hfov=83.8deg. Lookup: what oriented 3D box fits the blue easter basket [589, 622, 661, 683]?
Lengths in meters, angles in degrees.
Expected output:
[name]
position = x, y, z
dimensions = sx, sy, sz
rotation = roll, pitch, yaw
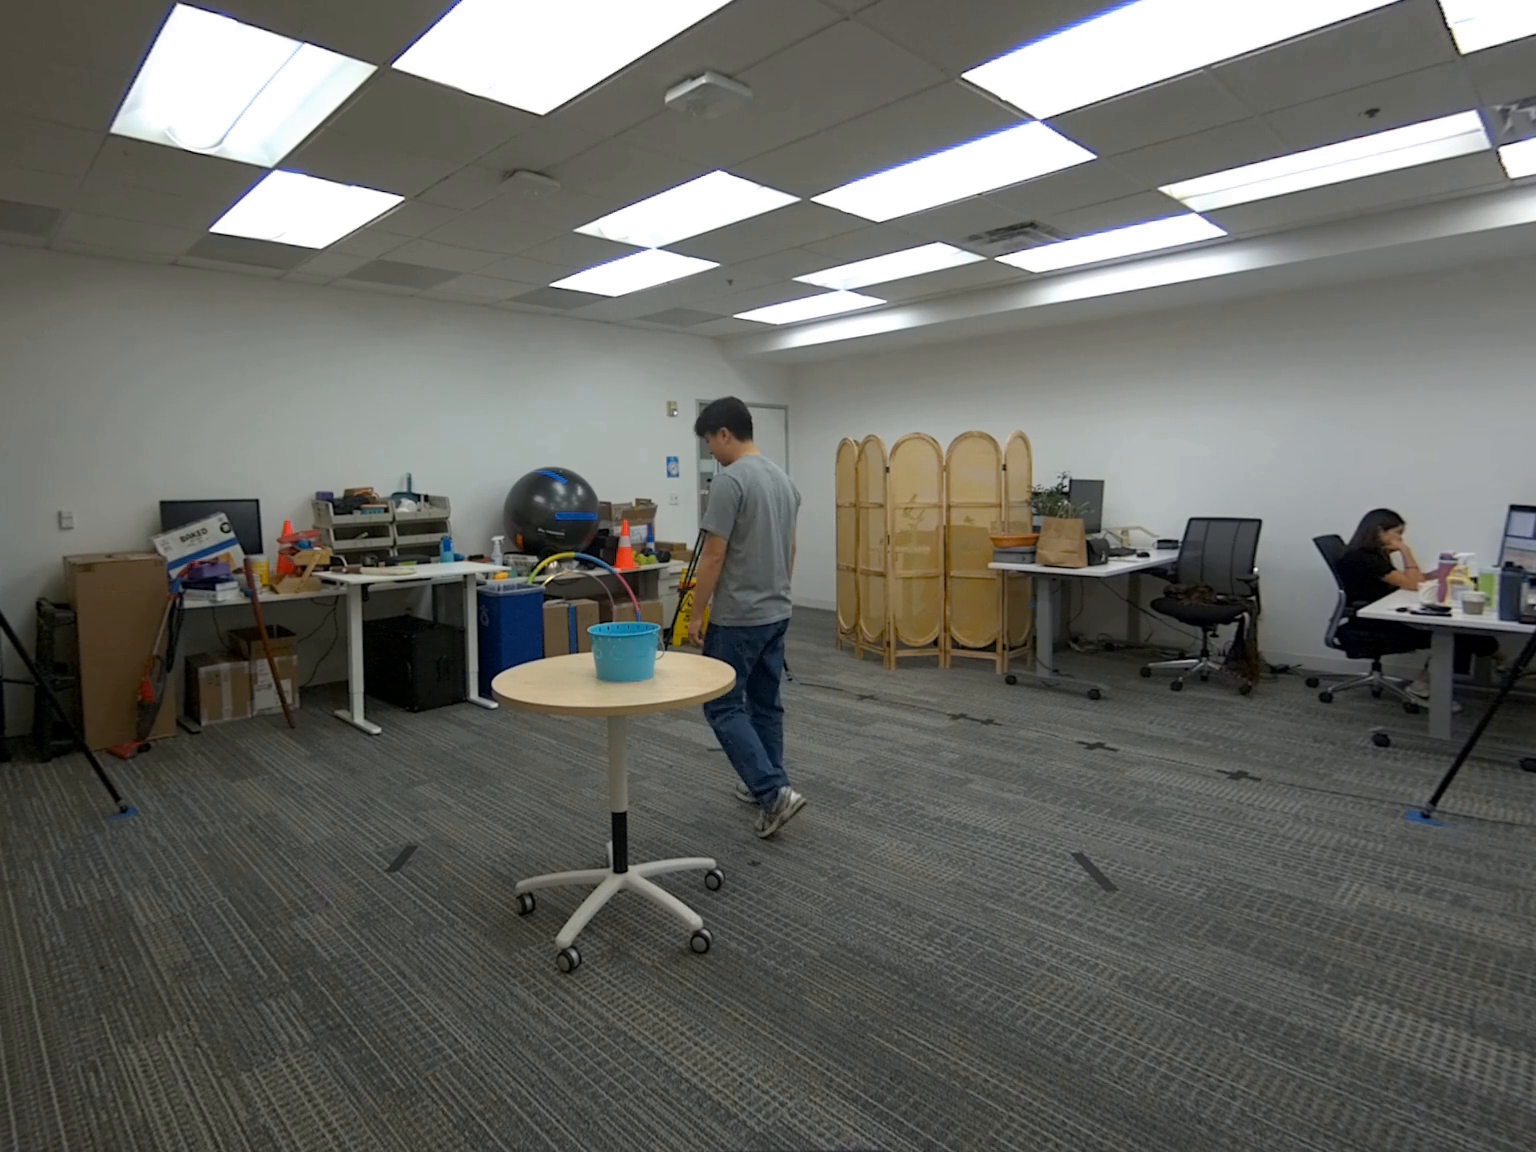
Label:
[blue easter basket]
position = -0.448, 0.244, 2.697
dimensions = 0.243, 0.155, 0.245
rotation = -2, 6, -2
